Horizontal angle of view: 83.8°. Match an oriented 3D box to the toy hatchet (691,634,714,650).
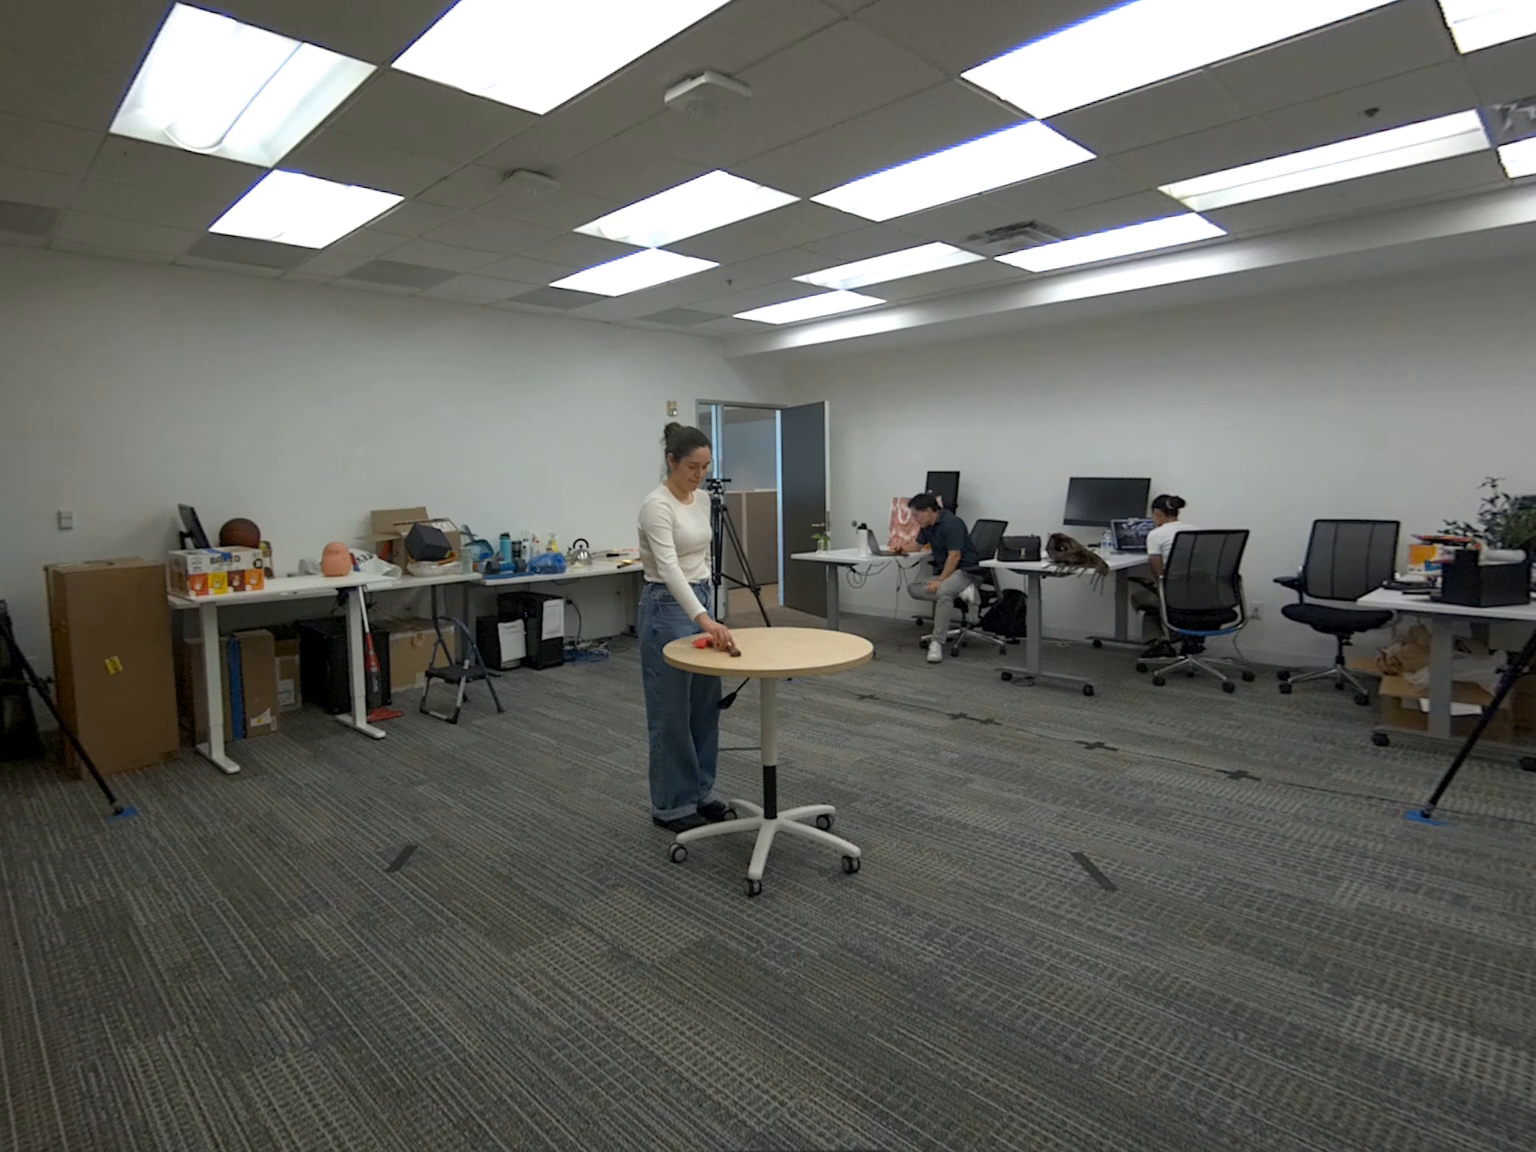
[{"bbox_3d":[-0.191,0.260,3.073,0.129,0.029,0.275,1,7,-15],"label":"toy hatchet"}]
